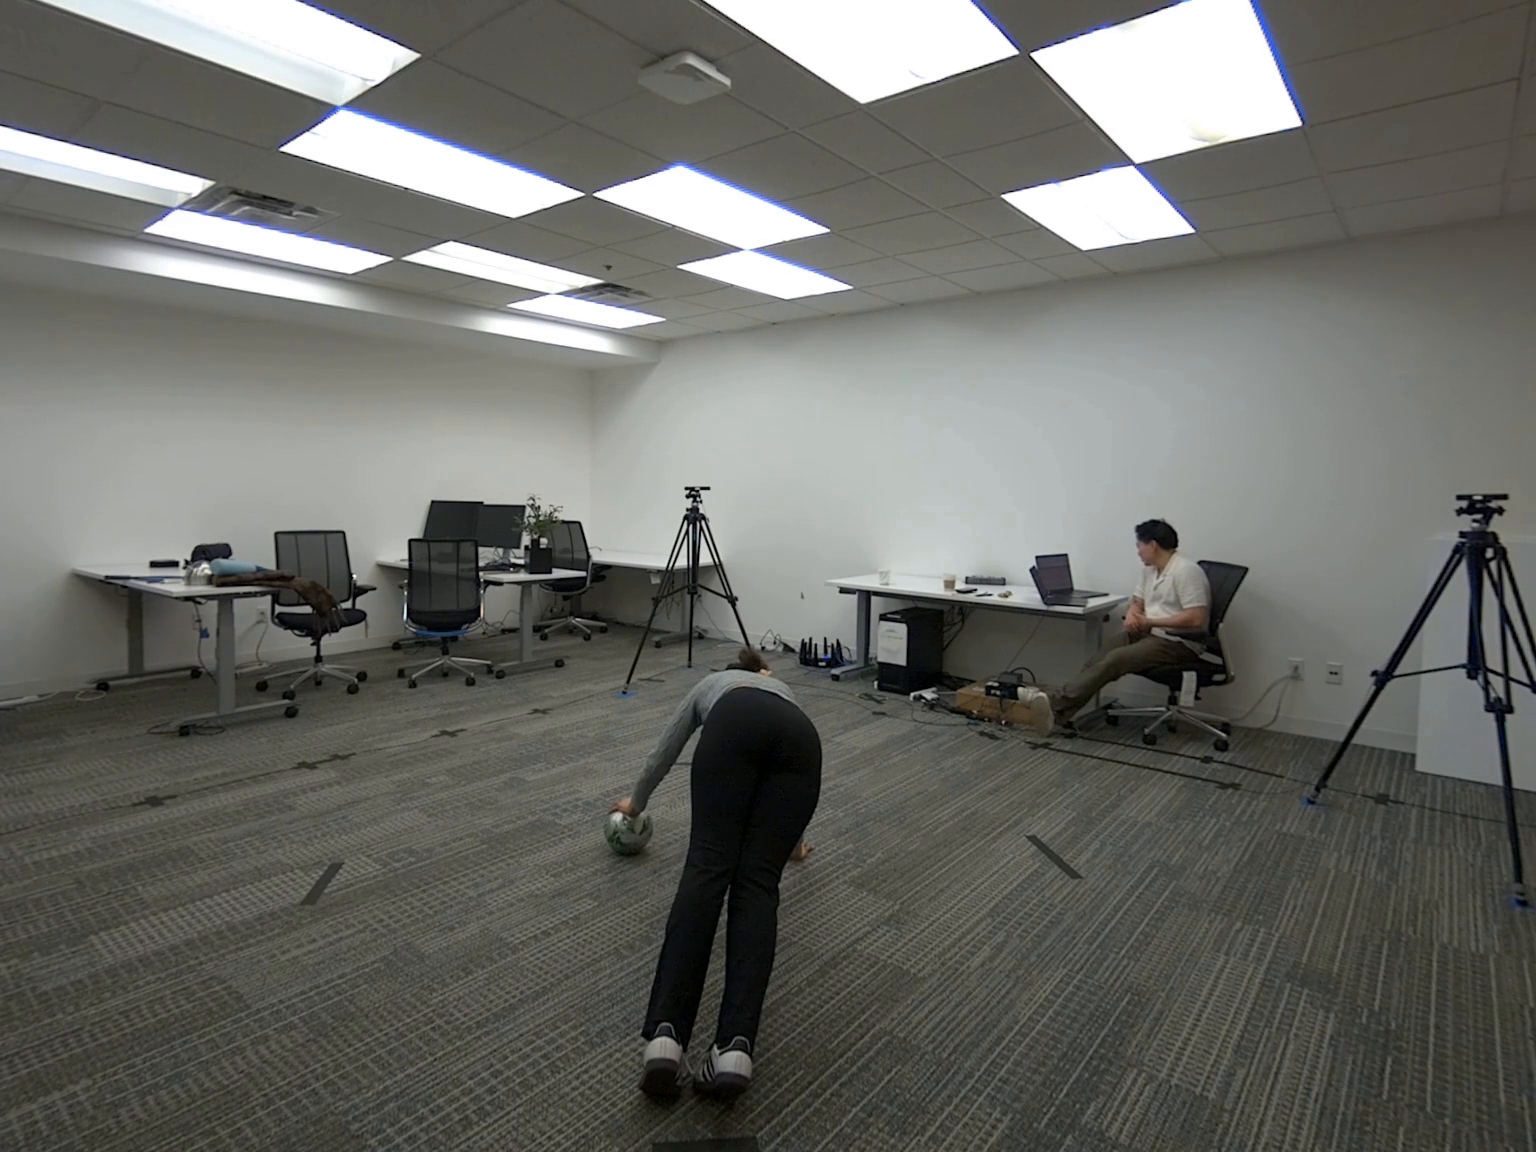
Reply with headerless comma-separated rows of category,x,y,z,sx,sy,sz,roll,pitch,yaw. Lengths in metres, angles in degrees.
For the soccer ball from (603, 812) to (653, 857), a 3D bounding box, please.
soccer ball,-0.541,0.953,3.239,0.187,0.187,0.188,1,4,-2
